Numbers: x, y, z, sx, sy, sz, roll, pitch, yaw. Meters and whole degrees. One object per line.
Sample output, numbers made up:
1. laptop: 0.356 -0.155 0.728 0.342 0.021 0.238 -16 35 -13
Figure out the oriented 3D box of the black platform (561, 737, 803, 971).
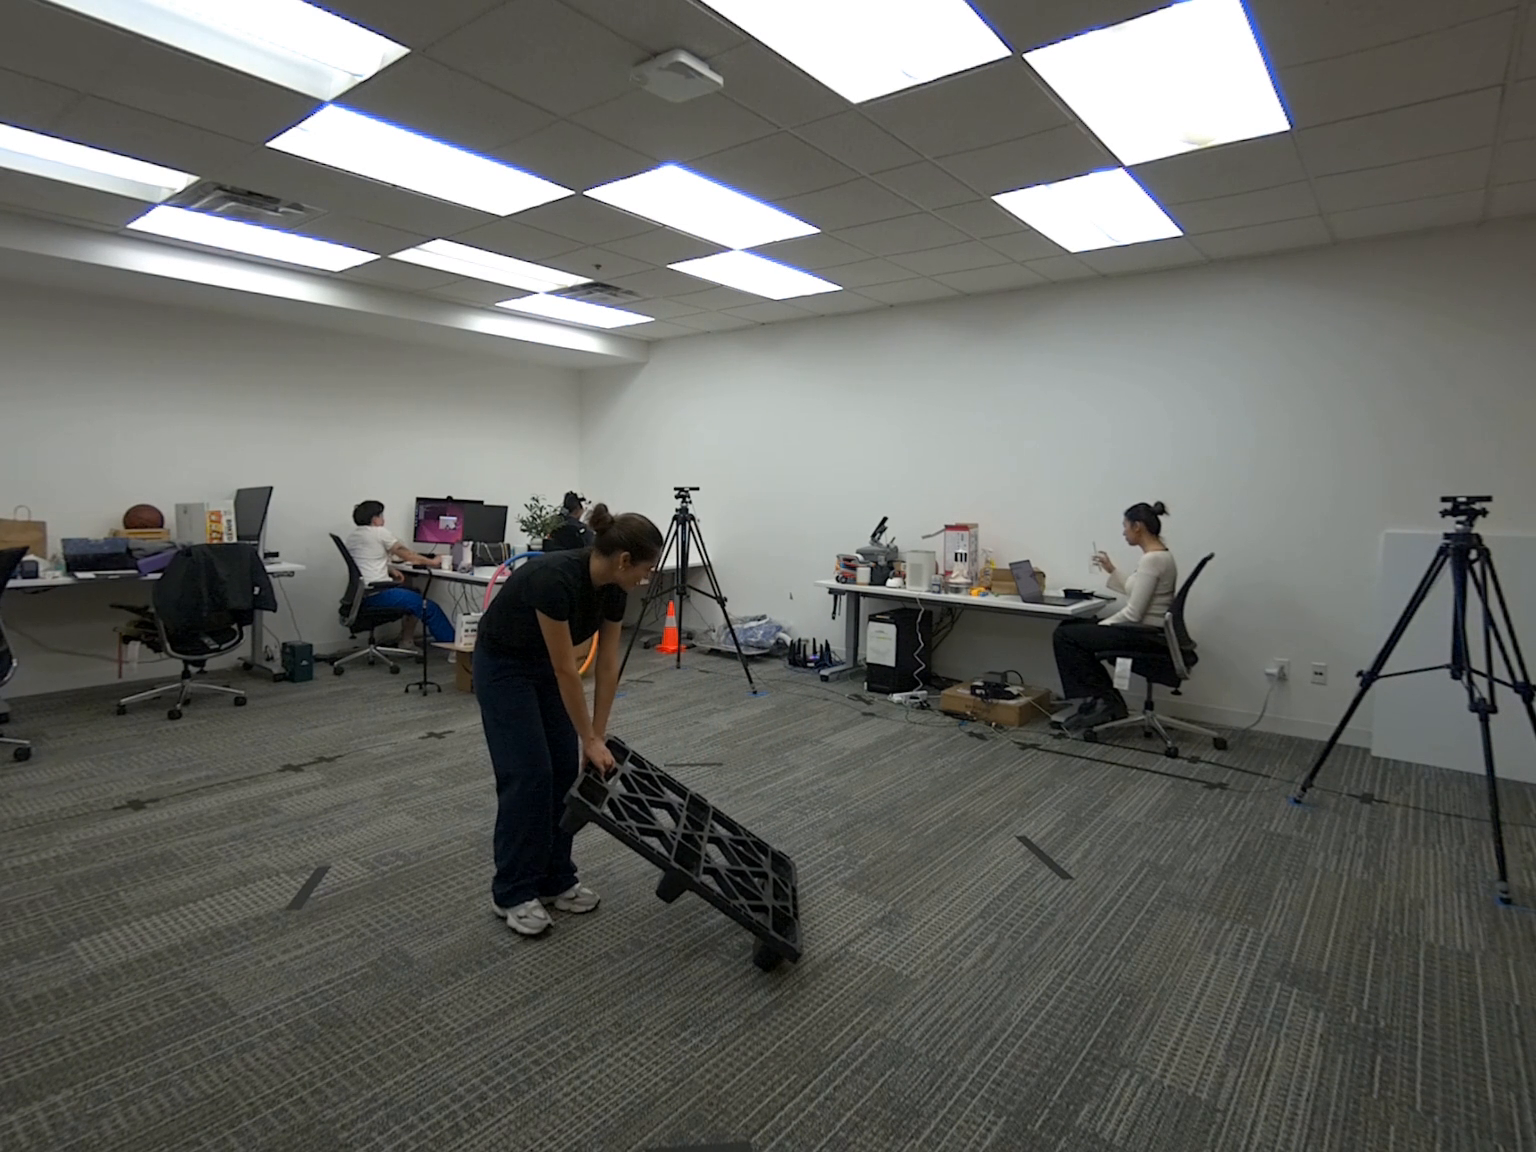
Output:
1. black platform: -0.263 0.846 2.691 0.807 0.143 0.605 35 4 0
